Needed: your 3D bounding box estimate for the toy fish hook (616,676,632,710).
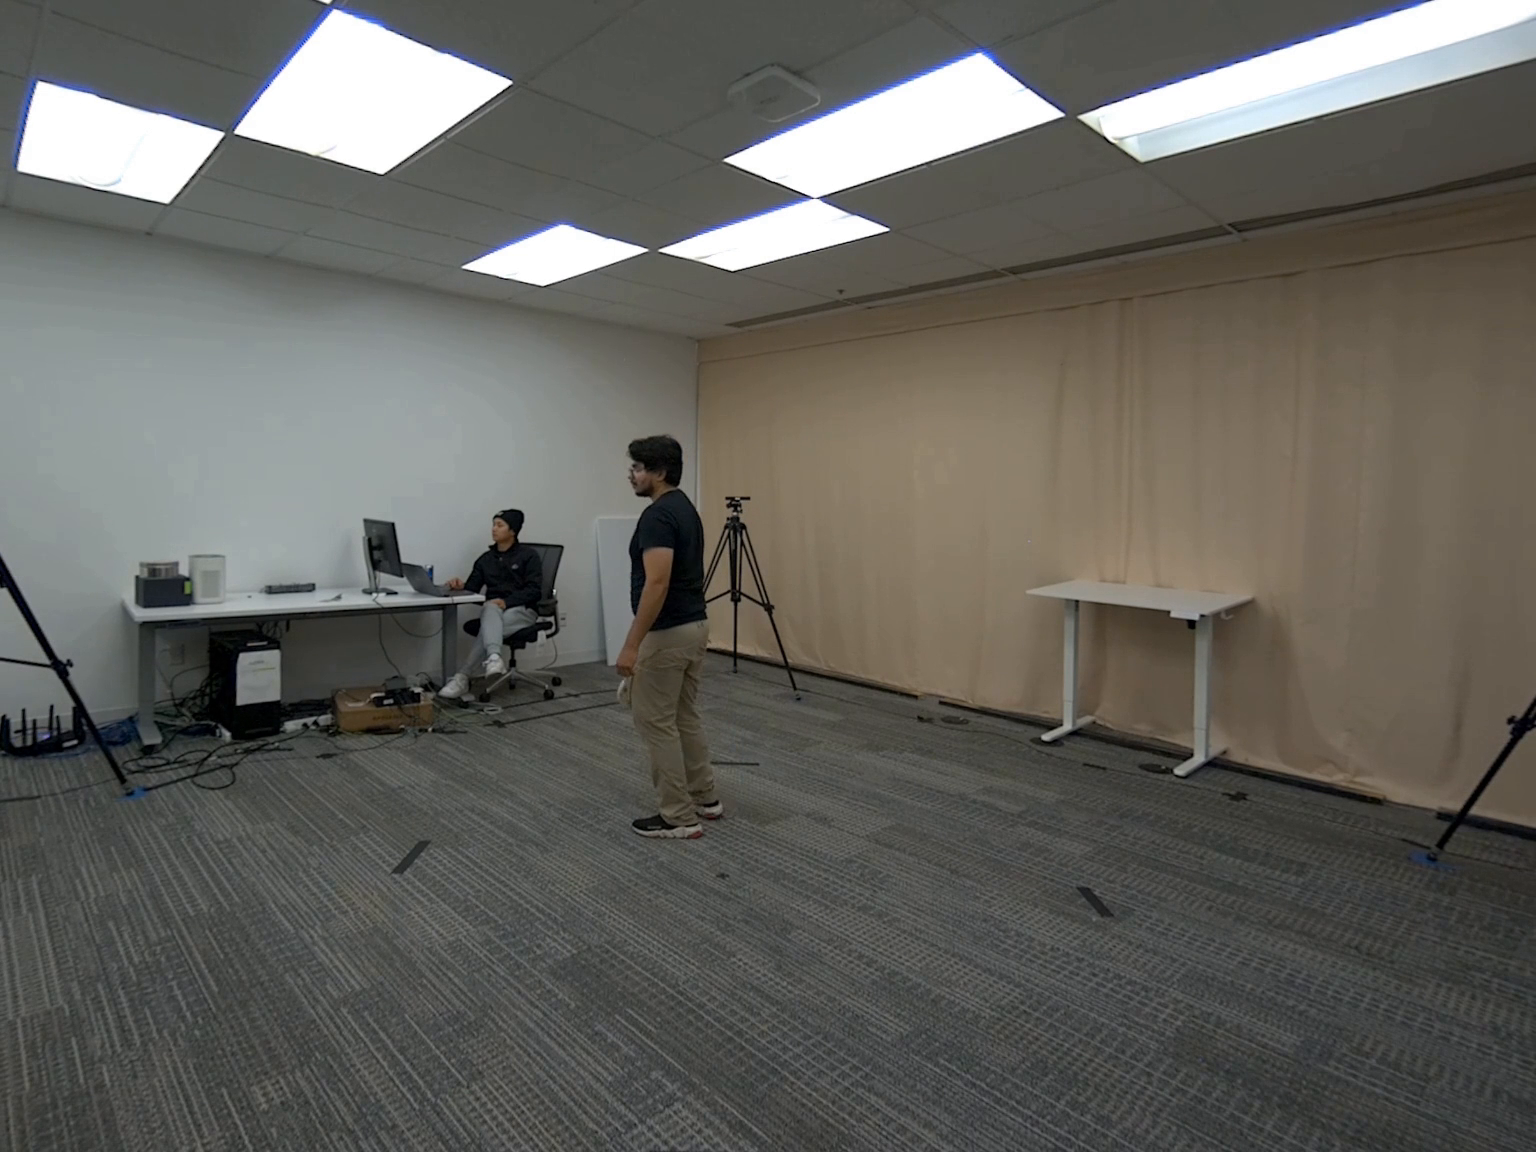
[{"bbox_3d":[-0.524,0.433,3.907,0.219,0.504,0.049,22,23,-25],"label":"toy fish hook"}]
